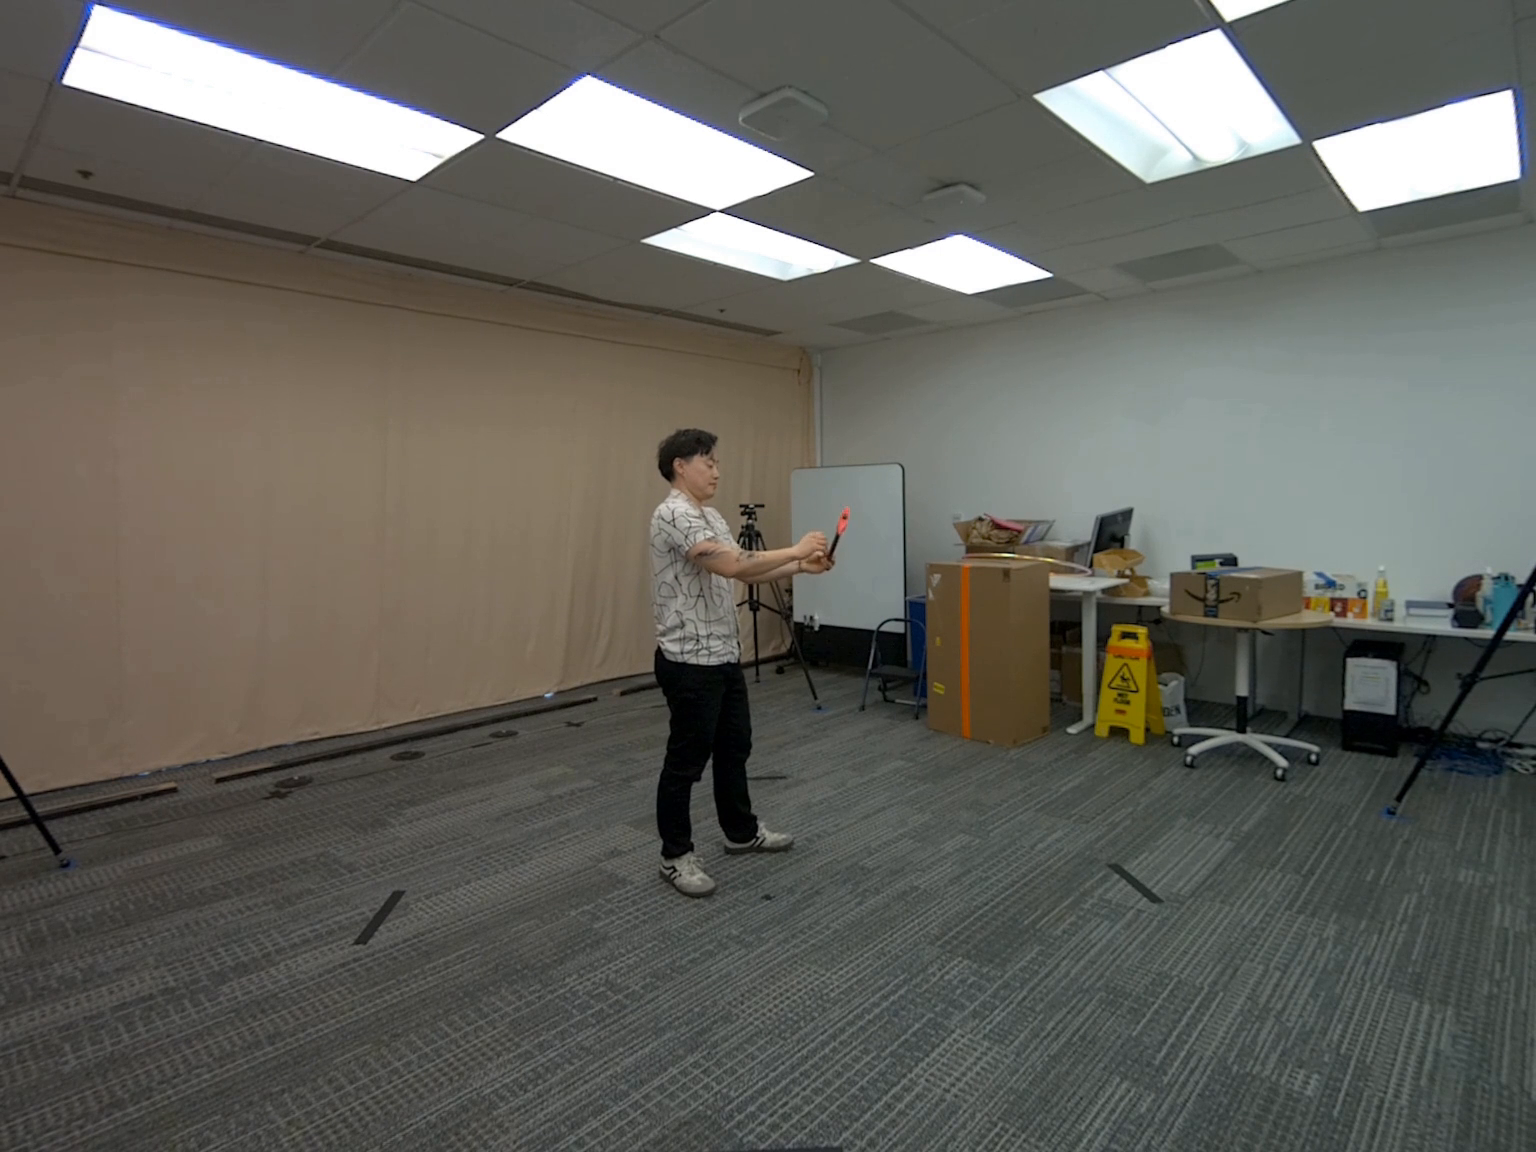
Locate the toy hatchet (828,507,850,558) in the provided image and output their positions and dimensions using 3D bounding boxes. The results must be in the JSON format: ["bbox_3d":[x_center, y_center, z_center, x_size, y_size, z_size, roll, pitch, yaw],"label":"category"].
[{"bbox_3d":[0.254,-0.148,2.964,0.029,0.132,0.269,20,-24,-2],"label":"toy hatchet"}]
